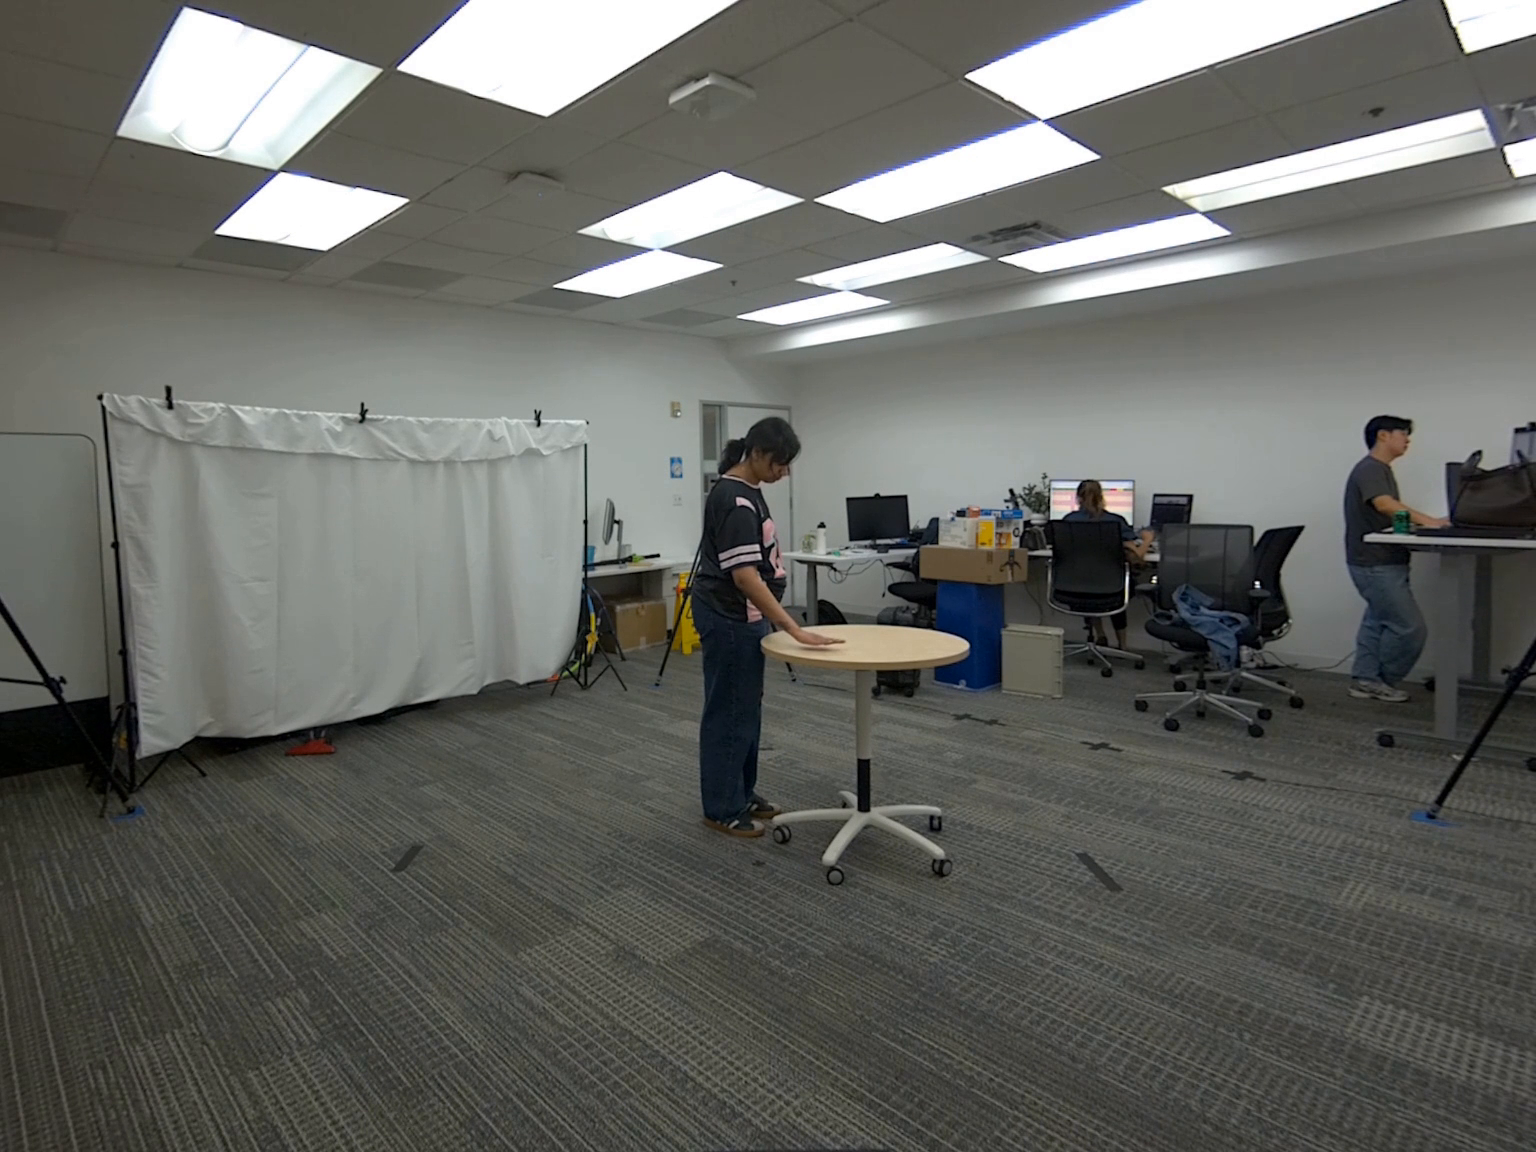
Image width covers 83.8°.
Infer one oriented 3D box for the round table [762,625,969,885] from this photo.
[{"bbox_3d":[0.372,0.635,3.221,0.784,0.784,0.789,-1,5,-2],"label":"round table"}]
